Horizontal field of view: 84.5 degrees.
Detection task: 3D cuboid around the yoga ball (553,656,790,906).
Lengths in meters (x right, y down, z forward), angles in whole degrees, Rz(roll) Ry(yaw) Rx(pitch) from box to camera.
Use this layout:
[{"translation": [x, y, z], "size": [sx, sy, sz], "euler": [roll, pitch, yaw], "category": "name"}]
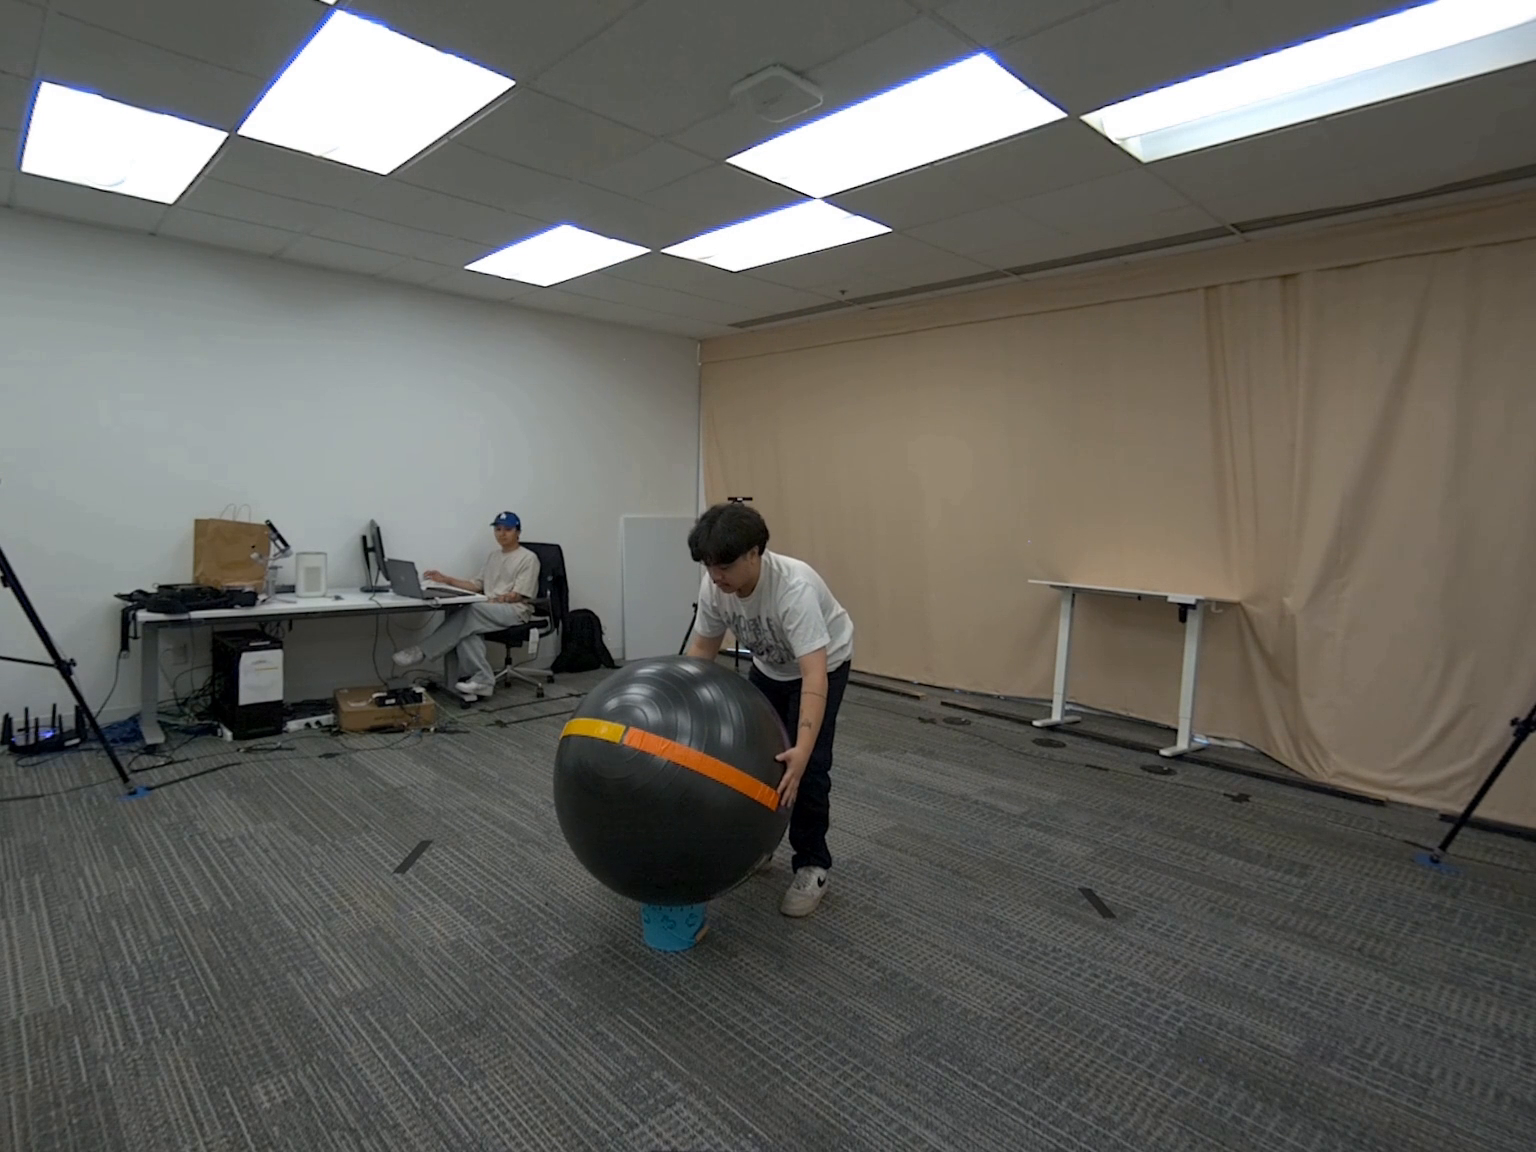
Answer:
[{"translation": [-0.299, 0.638, 2.651], "size": [0.757, 0.756, 0.760], "euler": [1, 4, -1], "category": "yoga ball"}]
